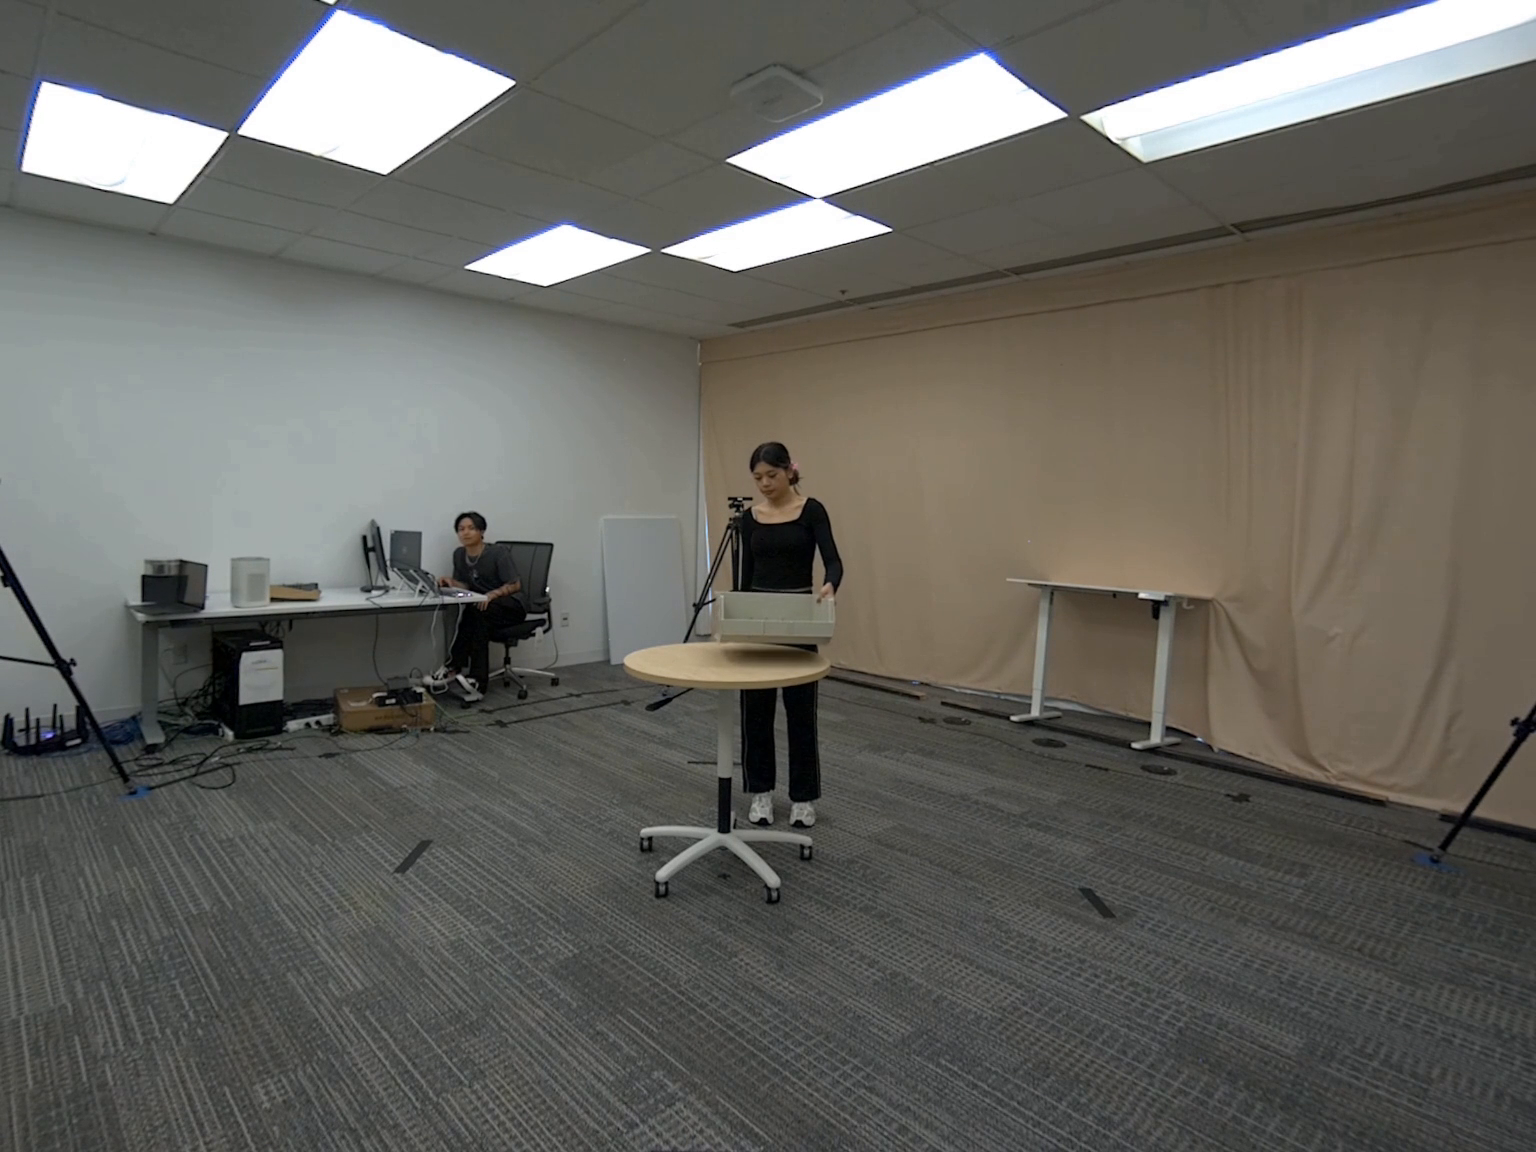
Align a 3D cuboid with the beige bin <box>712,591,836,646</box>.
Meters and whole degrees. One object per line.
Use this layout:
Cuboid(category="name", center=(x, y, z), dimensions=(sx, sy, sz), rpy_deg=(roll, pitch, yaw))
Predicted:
Cuboid(category="beige bin", center=(0.014, 0.164, 3.179), dimensions=(0.421, 0.189, 0.378), rpy_deg=(1, -1, -5))
